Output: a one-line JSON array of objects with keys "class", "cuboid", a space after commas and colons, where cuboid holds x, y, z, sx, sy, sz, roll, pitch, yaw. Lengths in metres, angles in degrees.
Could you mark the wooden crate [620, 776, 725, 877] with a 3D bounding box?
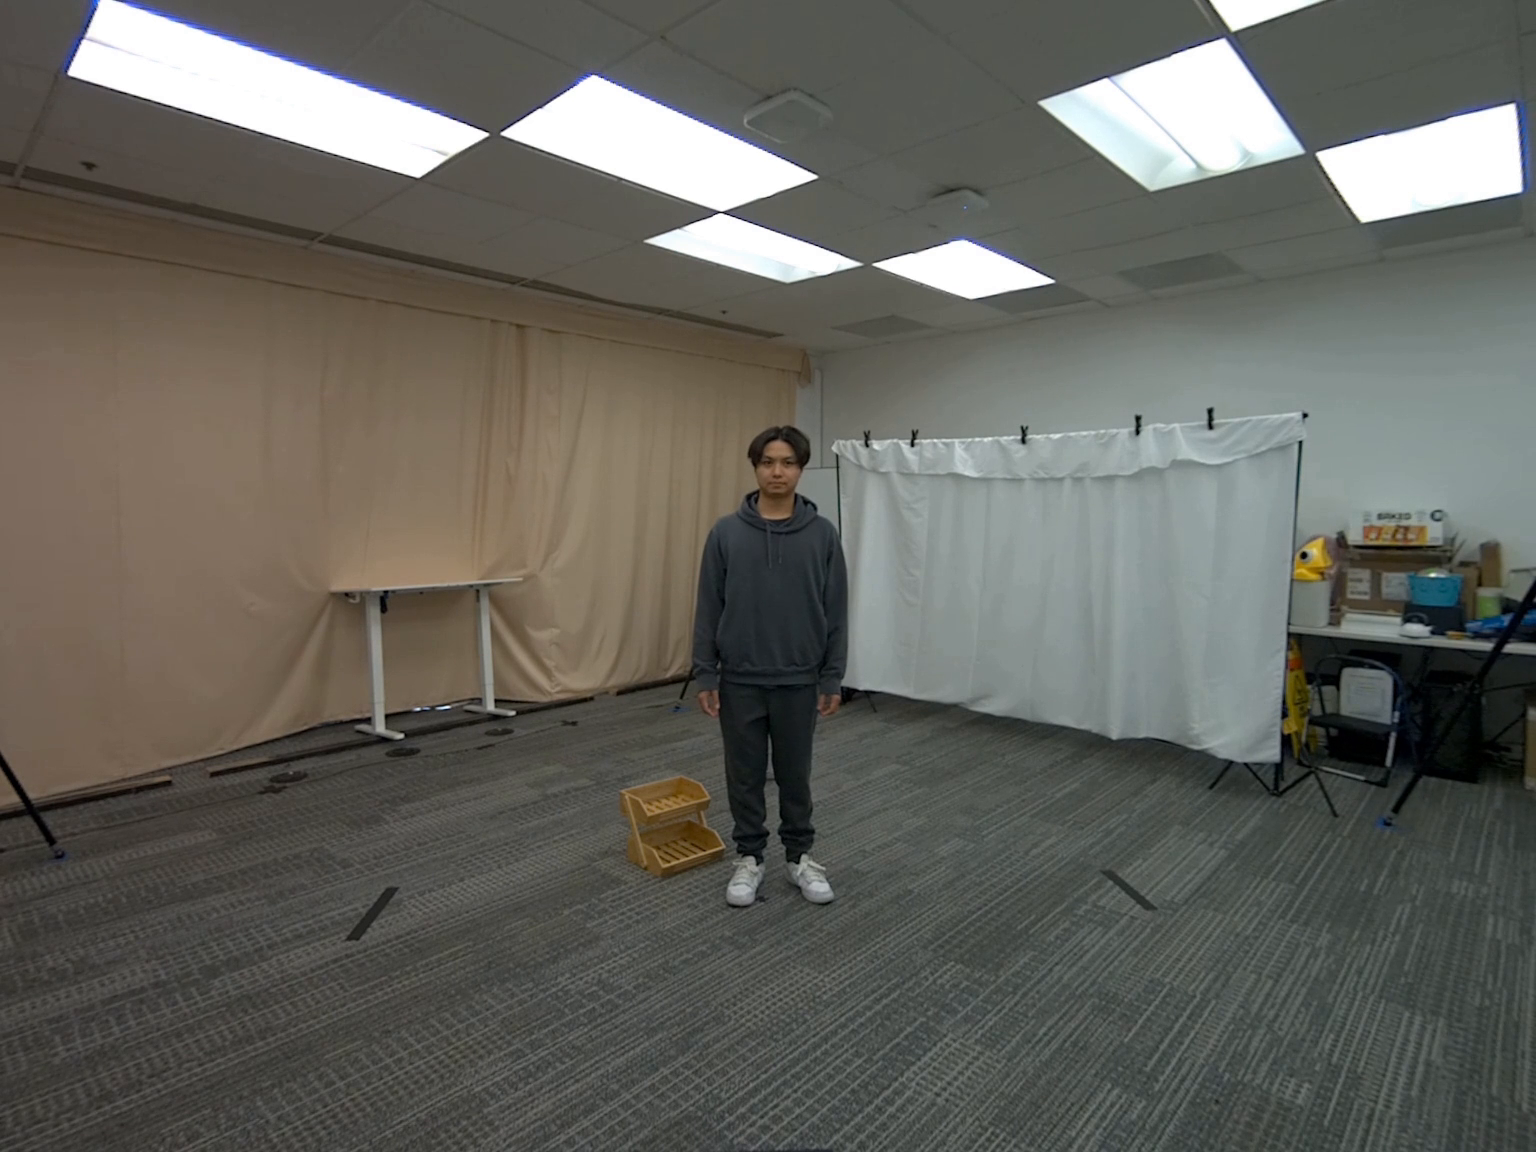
[{"class": "wooden crate", "cuboid": [-0.379, 0.983, 3.343, 0.315, 0.273, 0.312, -4, 4, -40]}]
